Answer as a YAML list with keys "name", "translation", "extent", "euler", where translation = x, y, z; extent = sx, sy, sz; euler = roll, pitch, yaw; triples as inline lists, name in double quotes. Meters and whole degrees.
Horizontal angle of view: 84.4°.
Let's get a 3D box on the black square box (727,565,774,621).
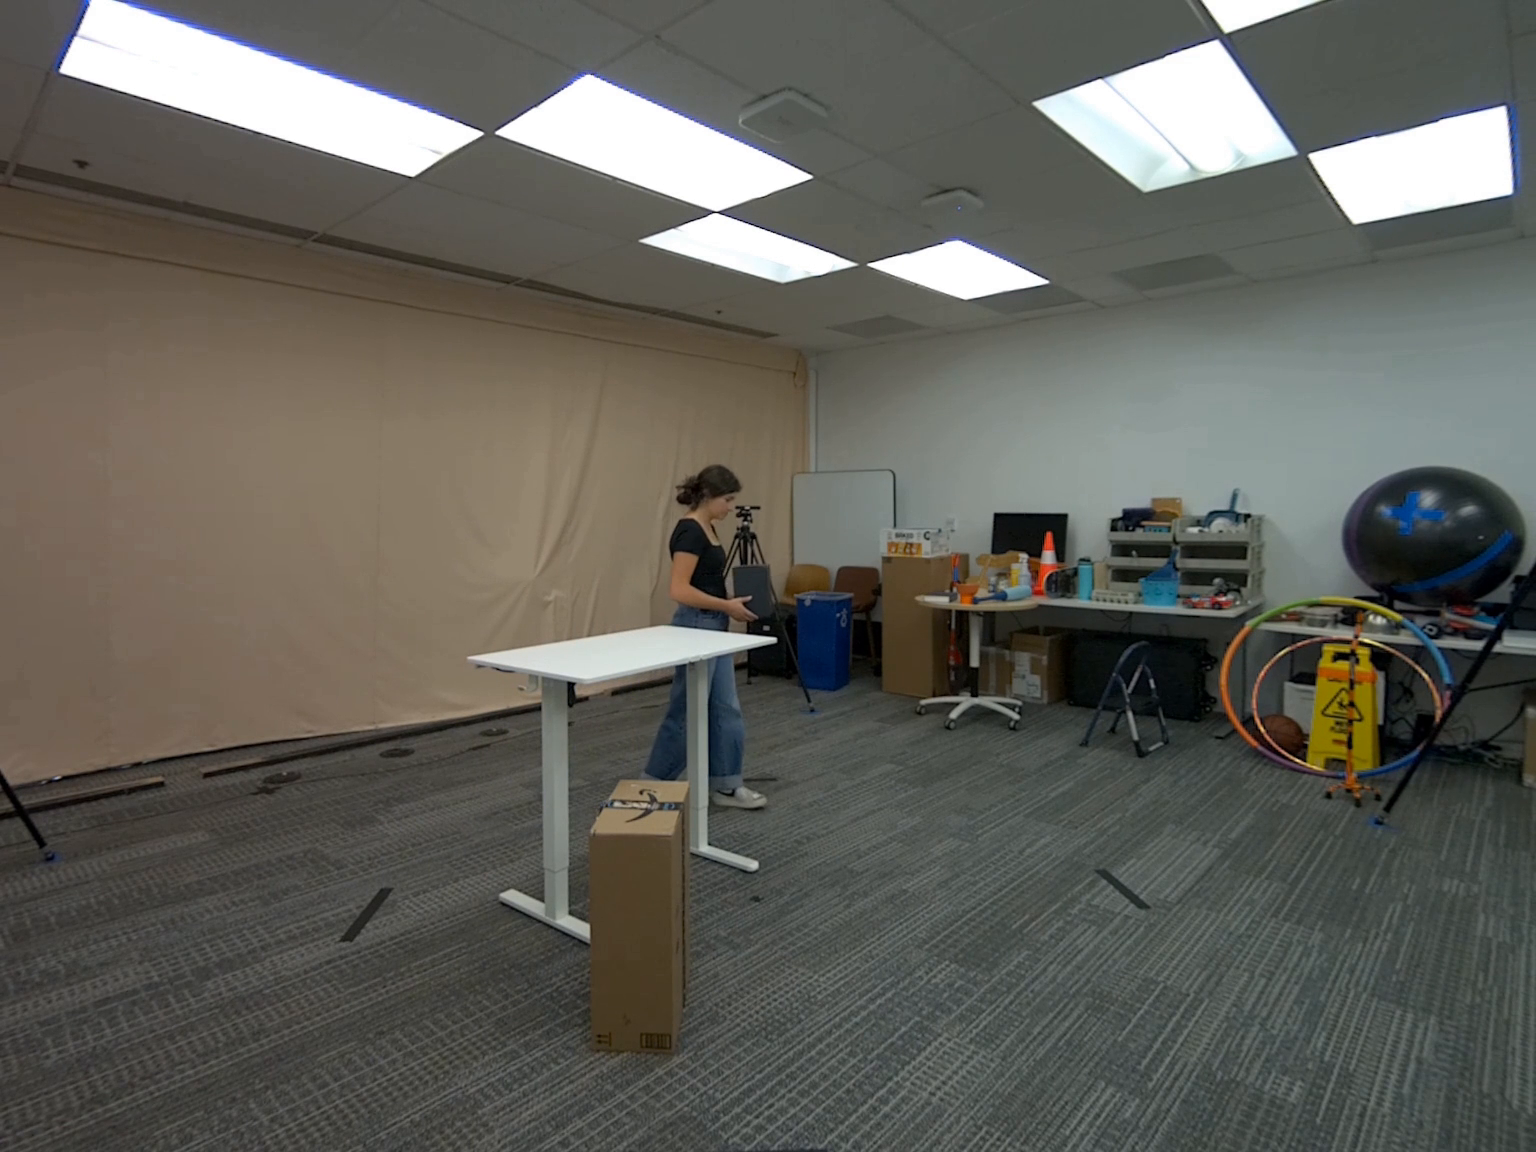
- name: "black square box"
  translation: [-0.080, 0.059, 3.847]
  extent: [0.156, 0.227, 0.217]
  euler: [-2, 4, 2]
